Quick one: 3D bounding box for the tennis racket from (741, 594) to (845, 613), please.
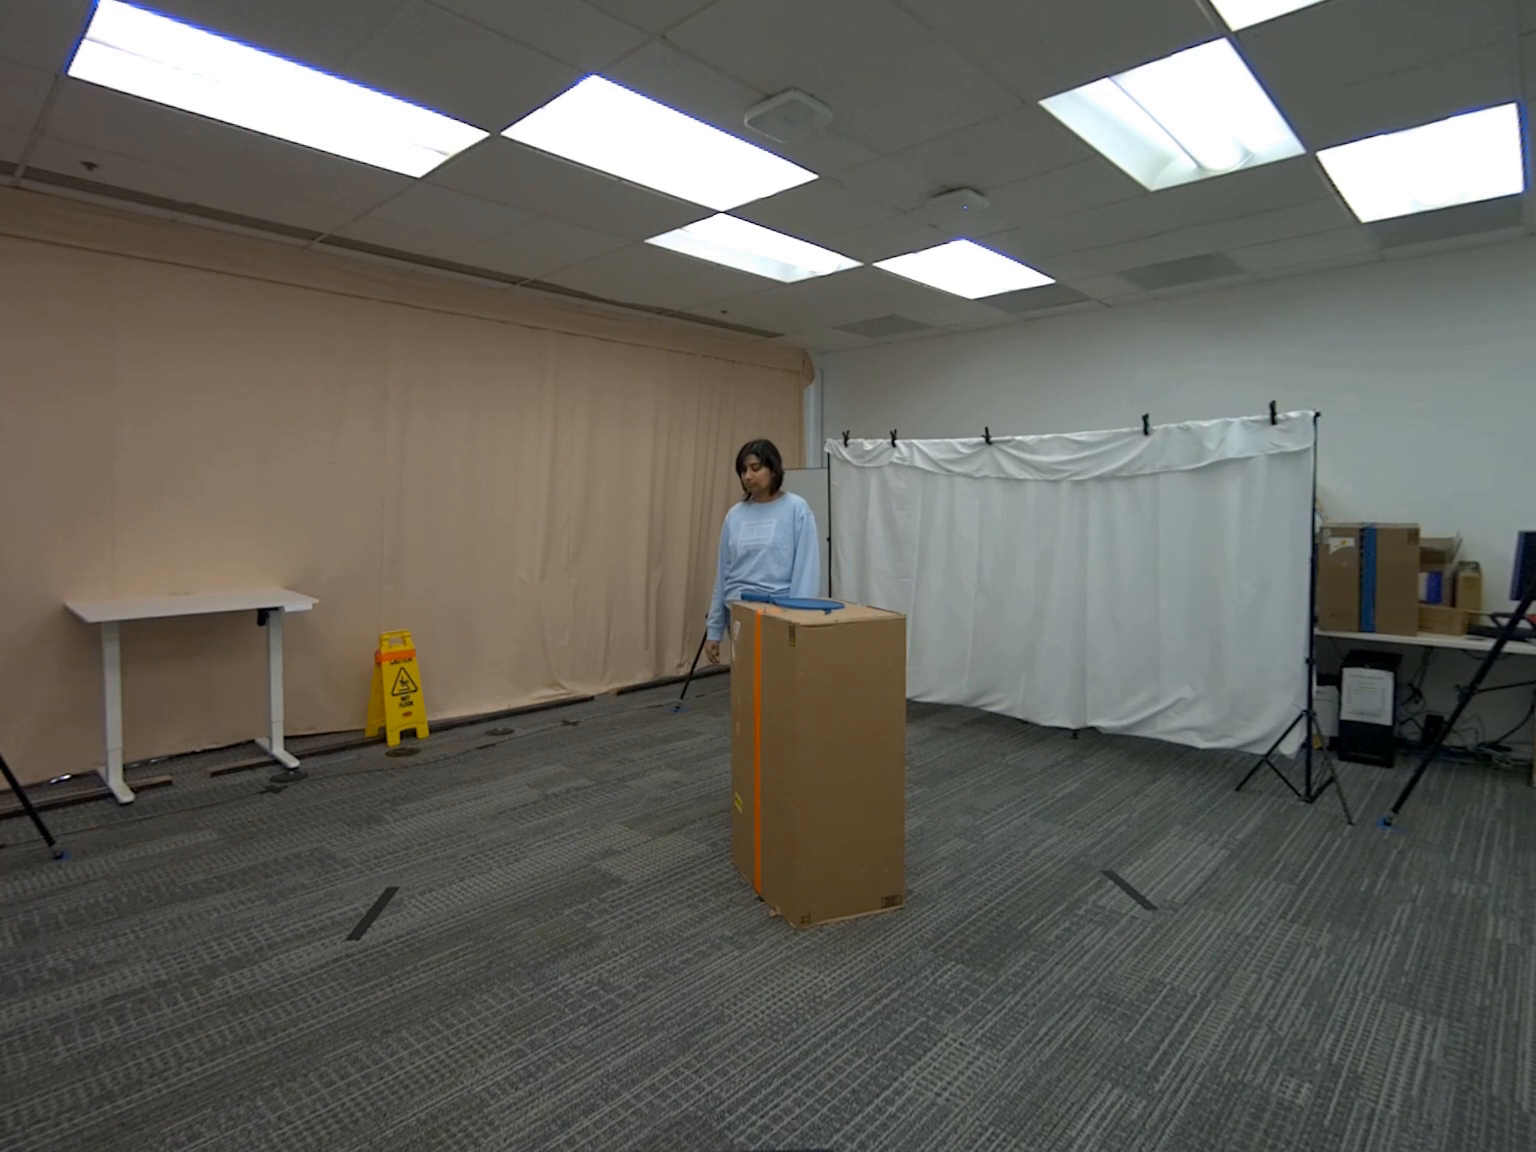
[{"bbox_3d":[0.094,0.096,3.151,0.446,0.031,0.208,5,8,34],"label":"tennis racket"}]
